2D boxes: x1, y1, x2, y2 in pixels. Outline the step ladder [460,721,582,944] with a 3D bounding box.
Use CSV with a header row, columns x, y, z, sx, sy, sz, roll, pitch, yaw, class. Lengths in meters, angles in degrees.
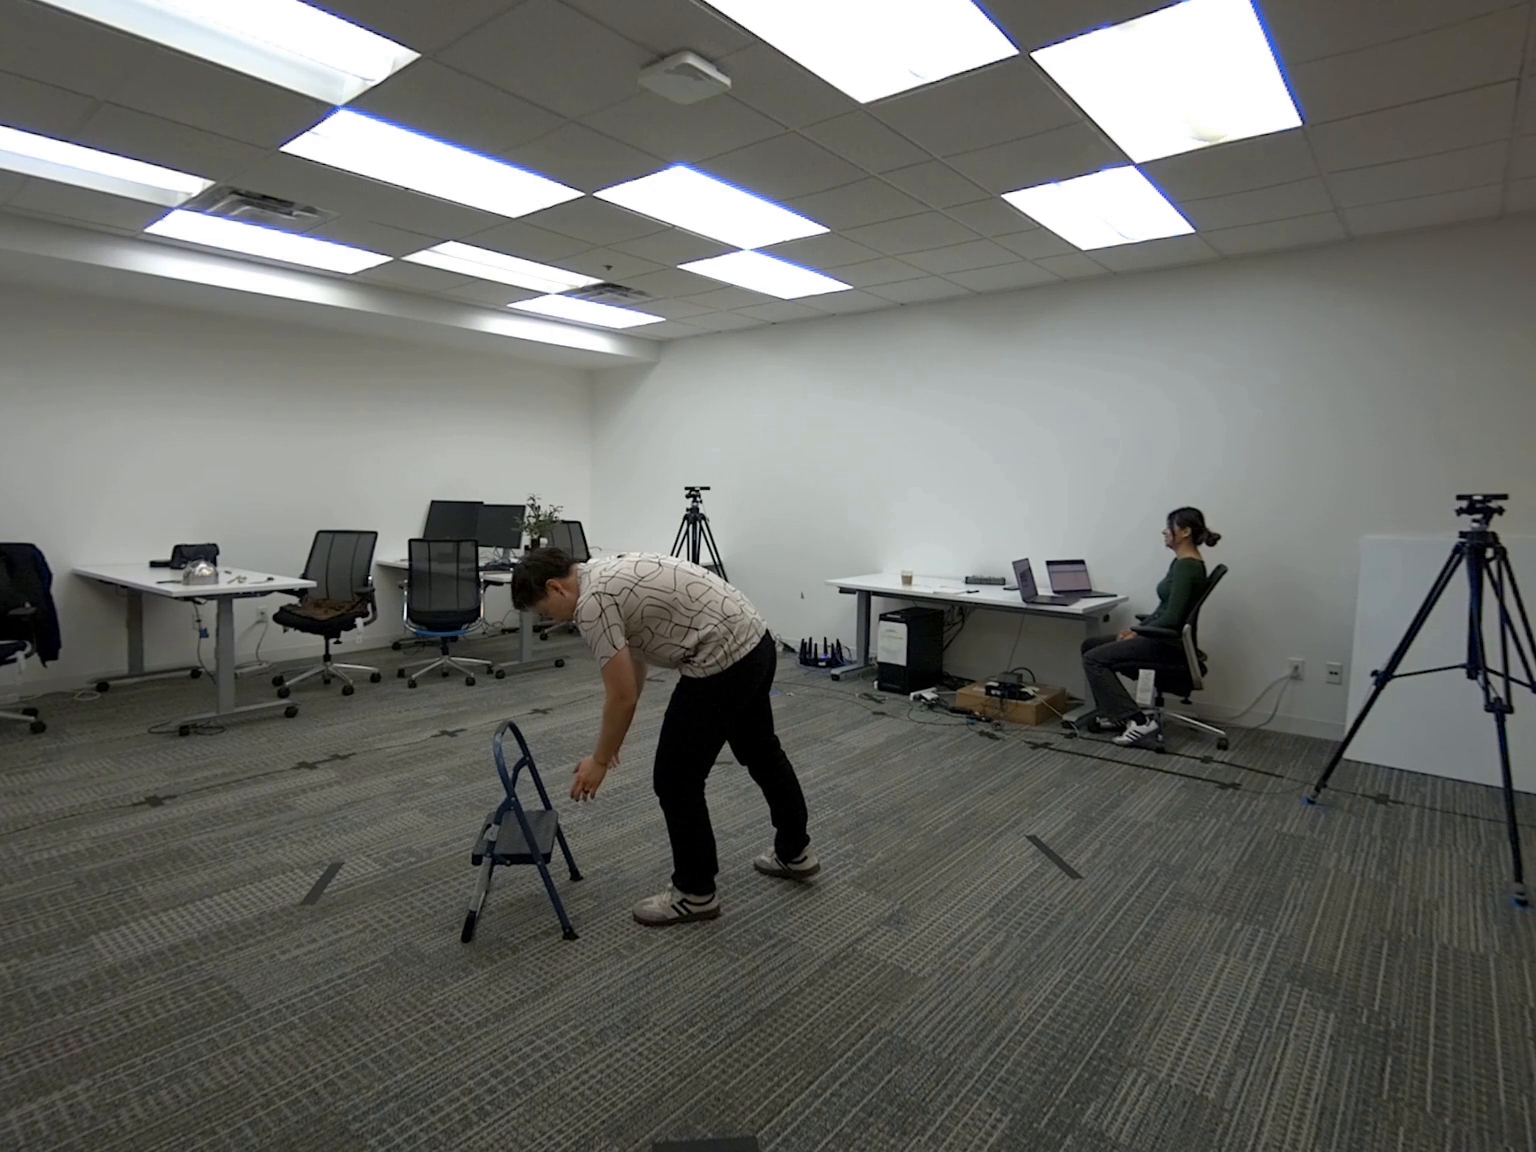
x,y,z,sx,sy,sz,roll,pitch,yaw,class
-0.803,0.790,2.780,0.346,0.604,0.436,1,3,-9,step ladder
